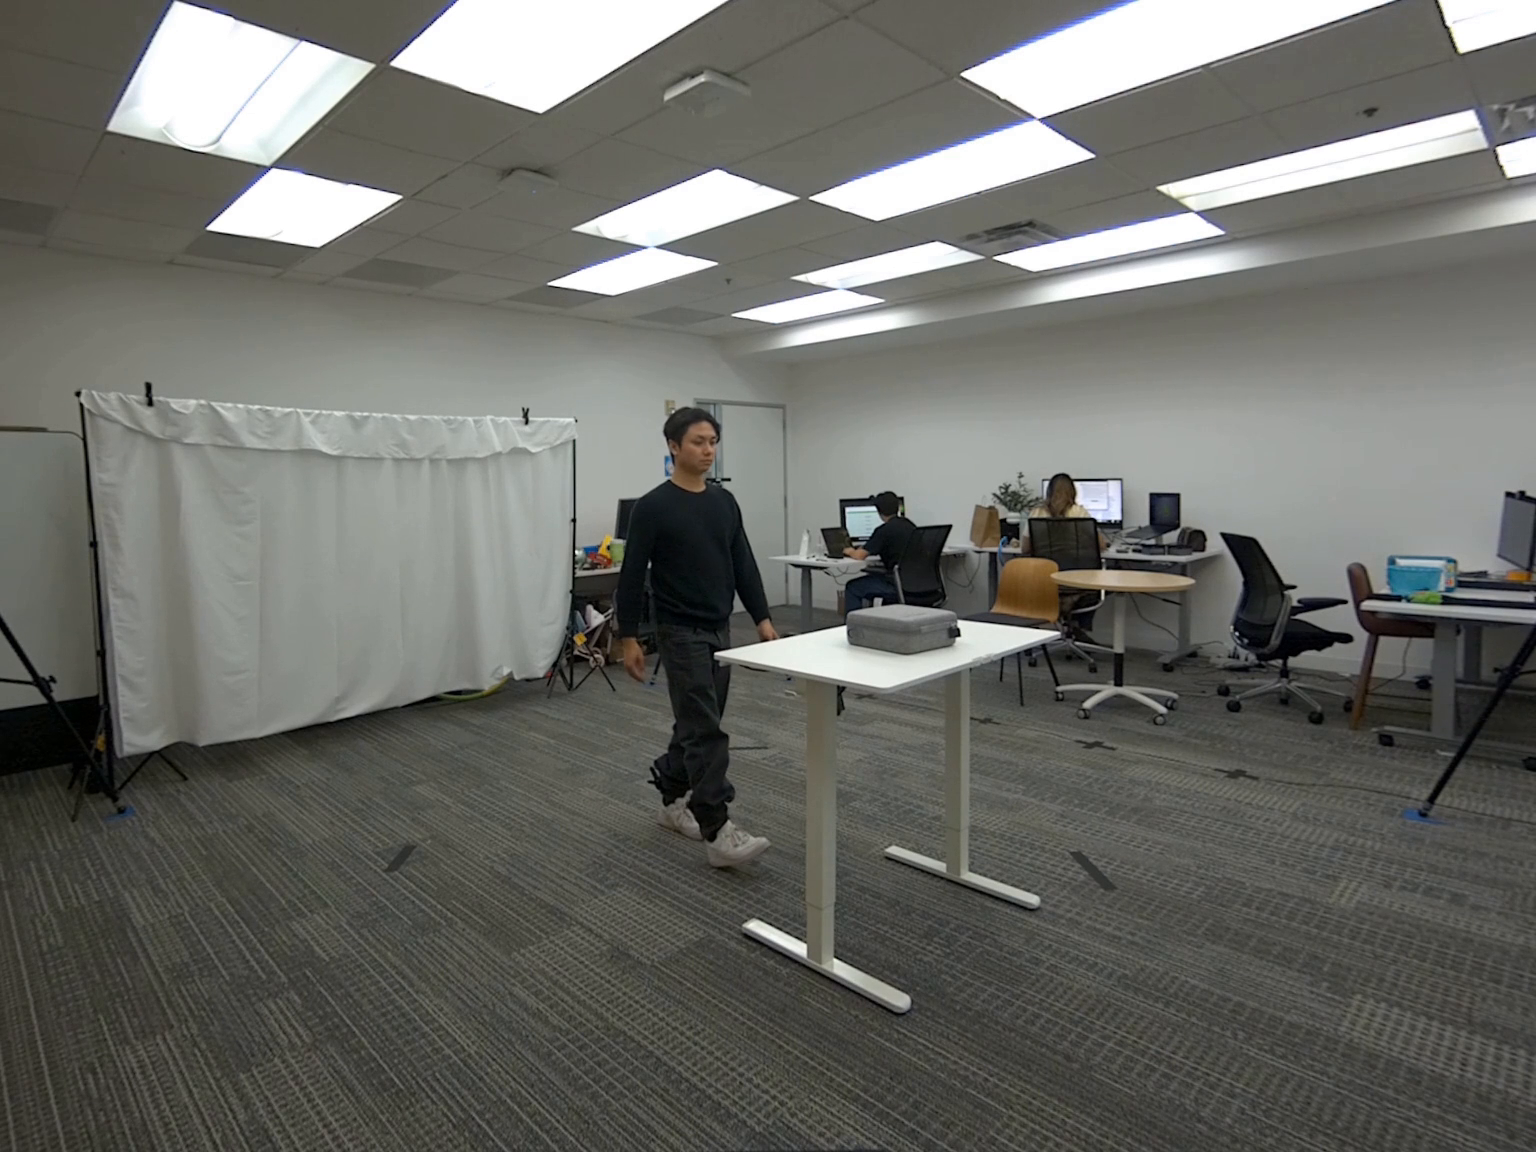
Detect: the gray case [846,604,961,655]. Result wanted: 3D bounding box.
[{"bbox_3d":[0.409,0.158,2.594,0.250,0.104,0.269,-7,8,-41],"label":"gray case"}]
